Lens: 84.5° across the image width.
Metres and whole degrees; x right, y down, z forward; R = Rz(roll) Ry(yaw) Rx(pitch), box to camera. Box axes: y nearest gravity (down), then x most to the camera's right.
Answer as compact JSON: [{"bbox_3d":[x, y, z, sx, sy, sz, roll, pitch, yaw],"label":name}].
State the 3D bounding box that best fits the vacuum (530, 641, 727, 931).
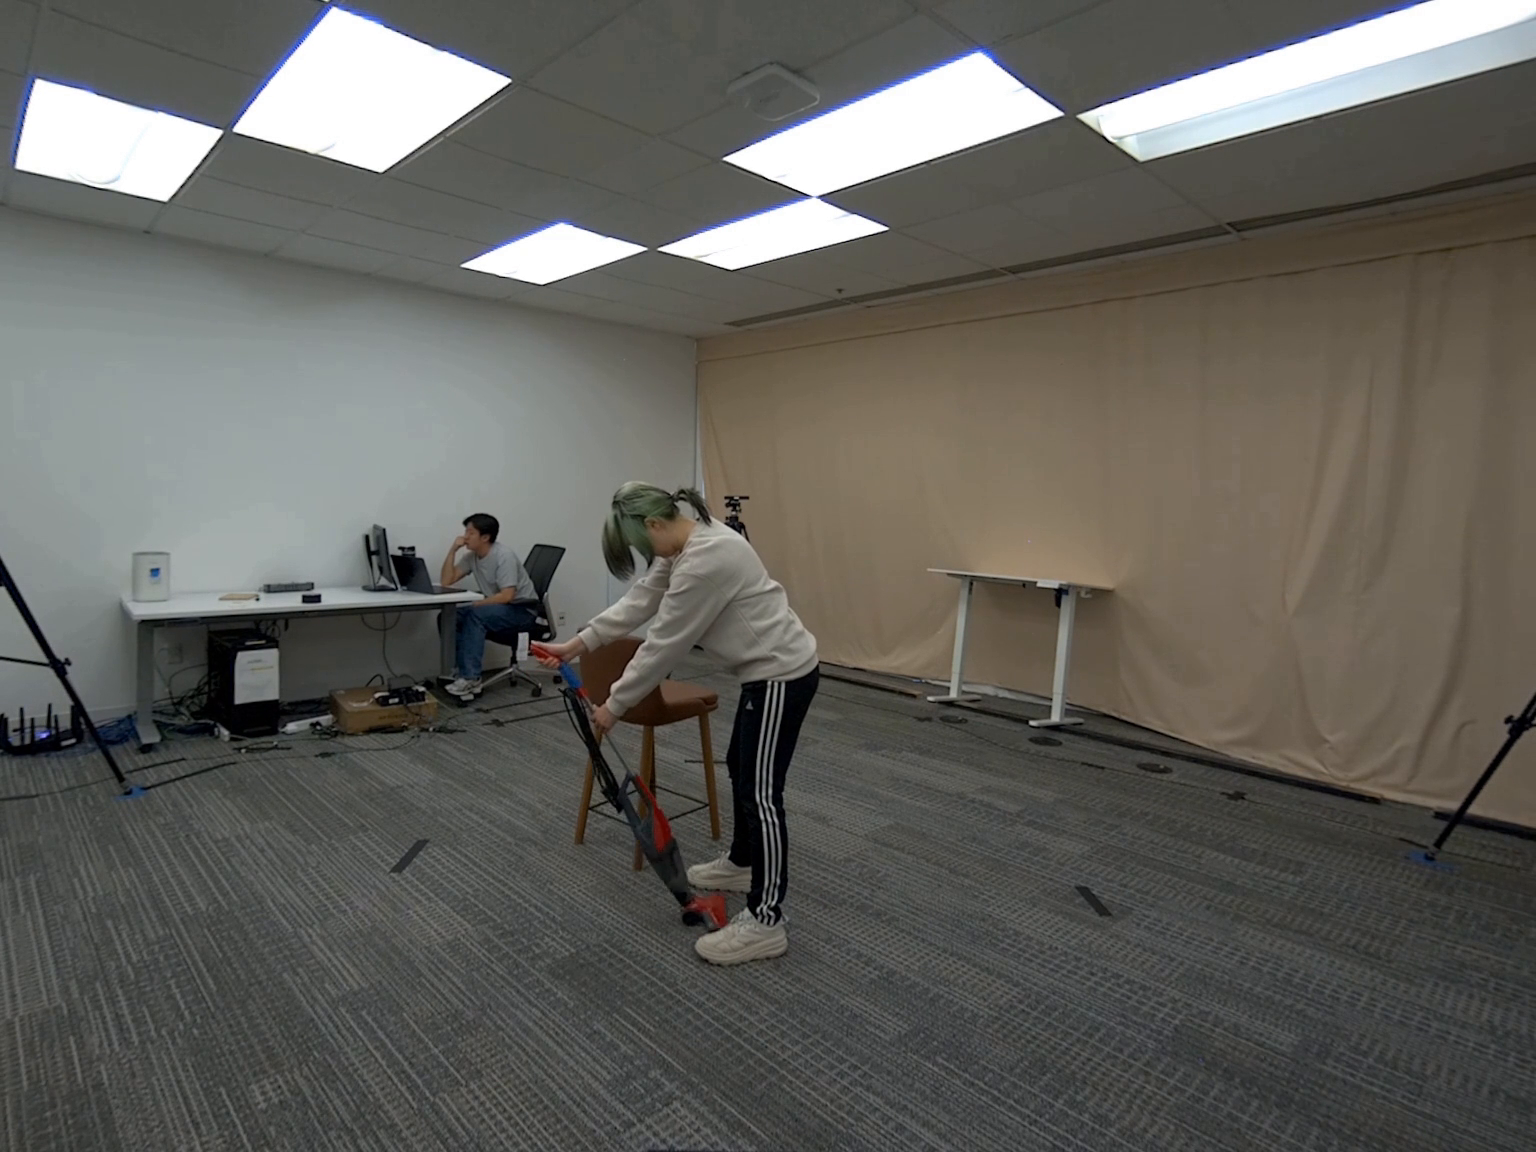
[{"bbox_3d":[-0.494,0.674,2.762,0.143,1.045,0.254,-33,4,-9],"label":"vacuum"}]
